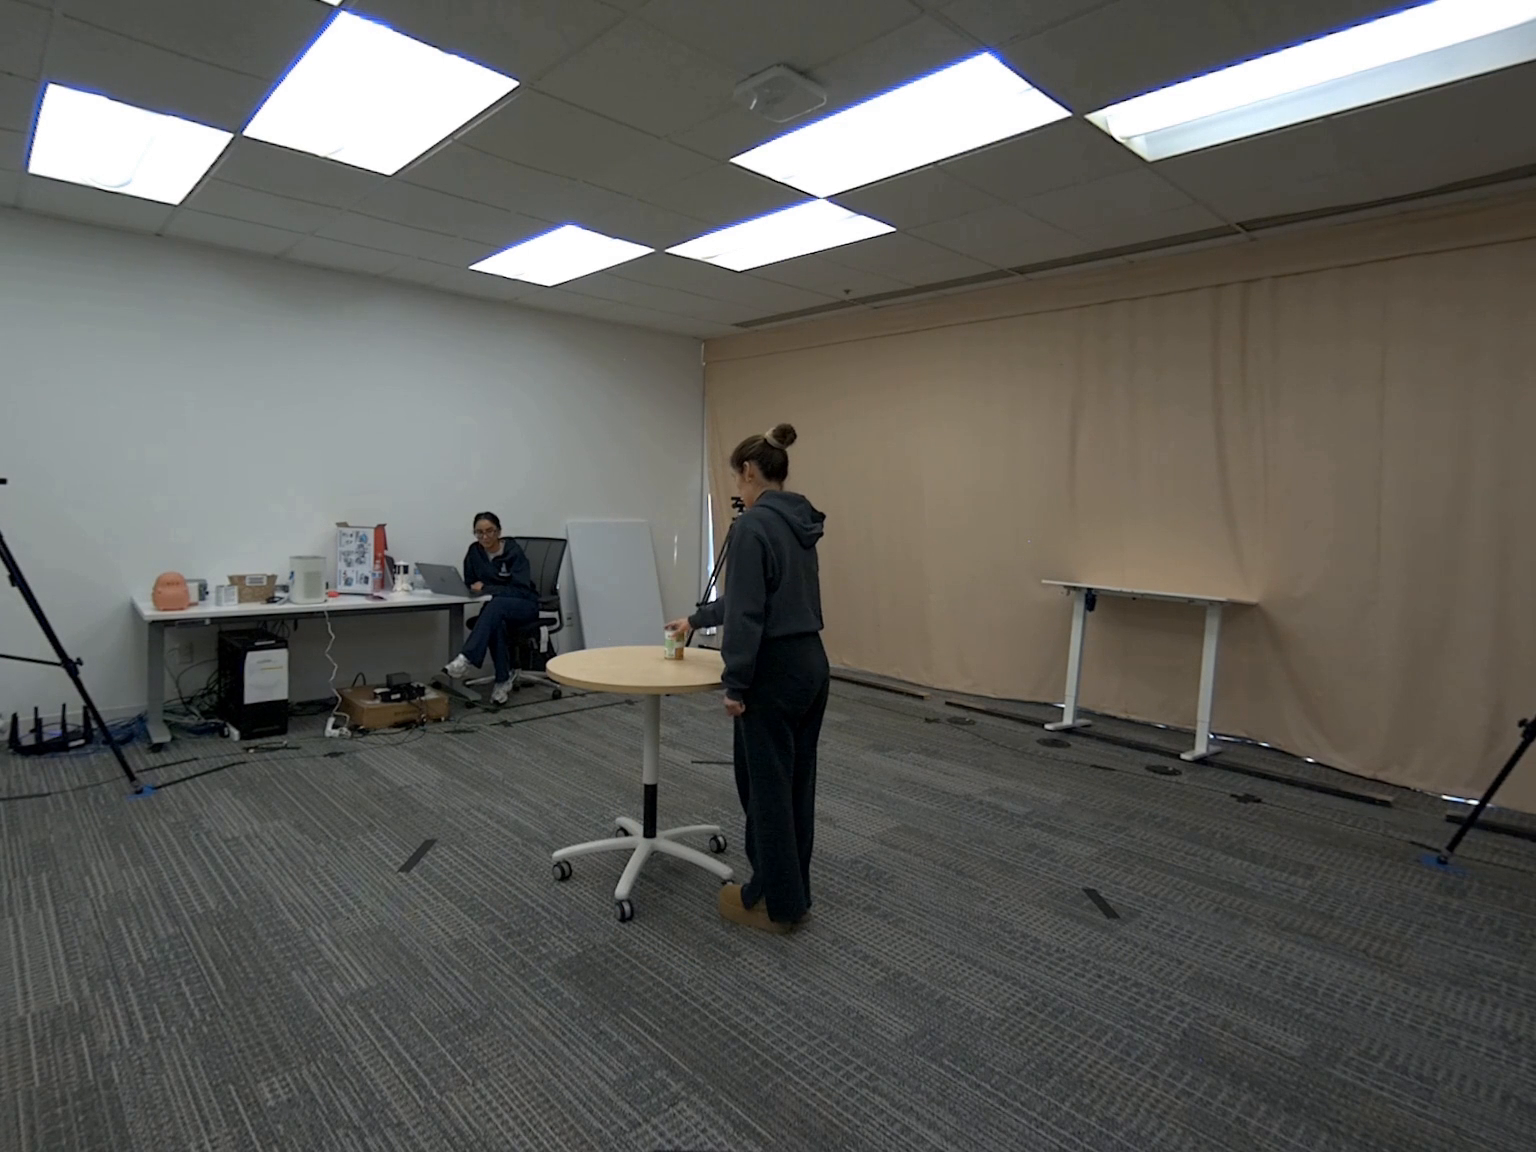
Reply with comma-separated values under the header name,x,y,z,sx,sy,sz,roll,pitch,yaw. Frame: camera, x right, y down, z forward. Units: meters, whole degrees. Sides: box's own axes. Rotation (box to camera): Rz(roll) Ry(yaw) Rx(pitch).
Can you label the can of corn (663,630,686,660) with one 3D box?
name,x,y,z,sx,sy,sz,roll,pitch,yaw
can of corn,-0.363,0.257,3.183,0.074,0.111,0.074,1,2,-1
